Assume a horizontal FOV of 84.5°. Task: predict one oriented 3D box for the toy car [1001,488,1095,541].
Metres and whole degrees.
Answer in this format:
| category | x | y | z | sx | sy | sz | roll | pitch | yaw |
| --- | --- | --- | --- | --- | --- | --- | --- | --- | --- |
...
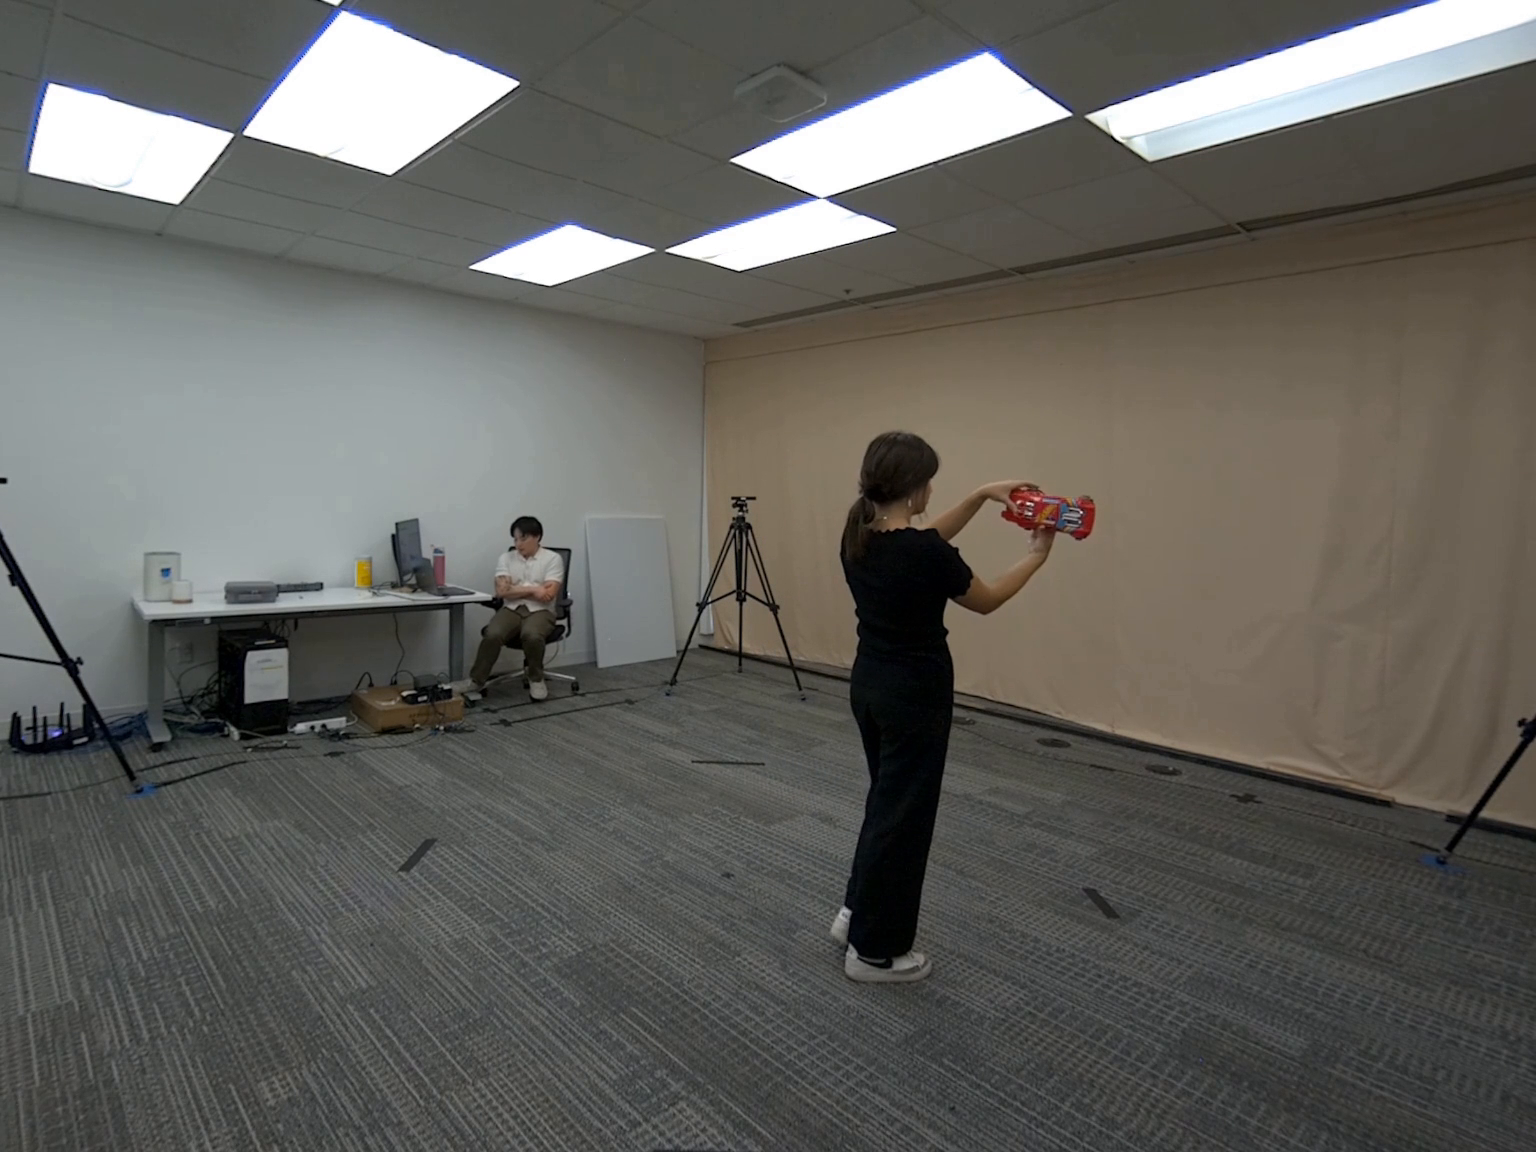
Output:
| category | x | y | z | sx | sy | sz | roll | pitch | yaw |
| --- | --- | --- | --- | --- | --- | --- | --- | --- | --- |
| toy car | 0.805 | -0.189 | 2.434 | 0.260 | 0.129 | 0.082 | 12 | 16 | 25 |
